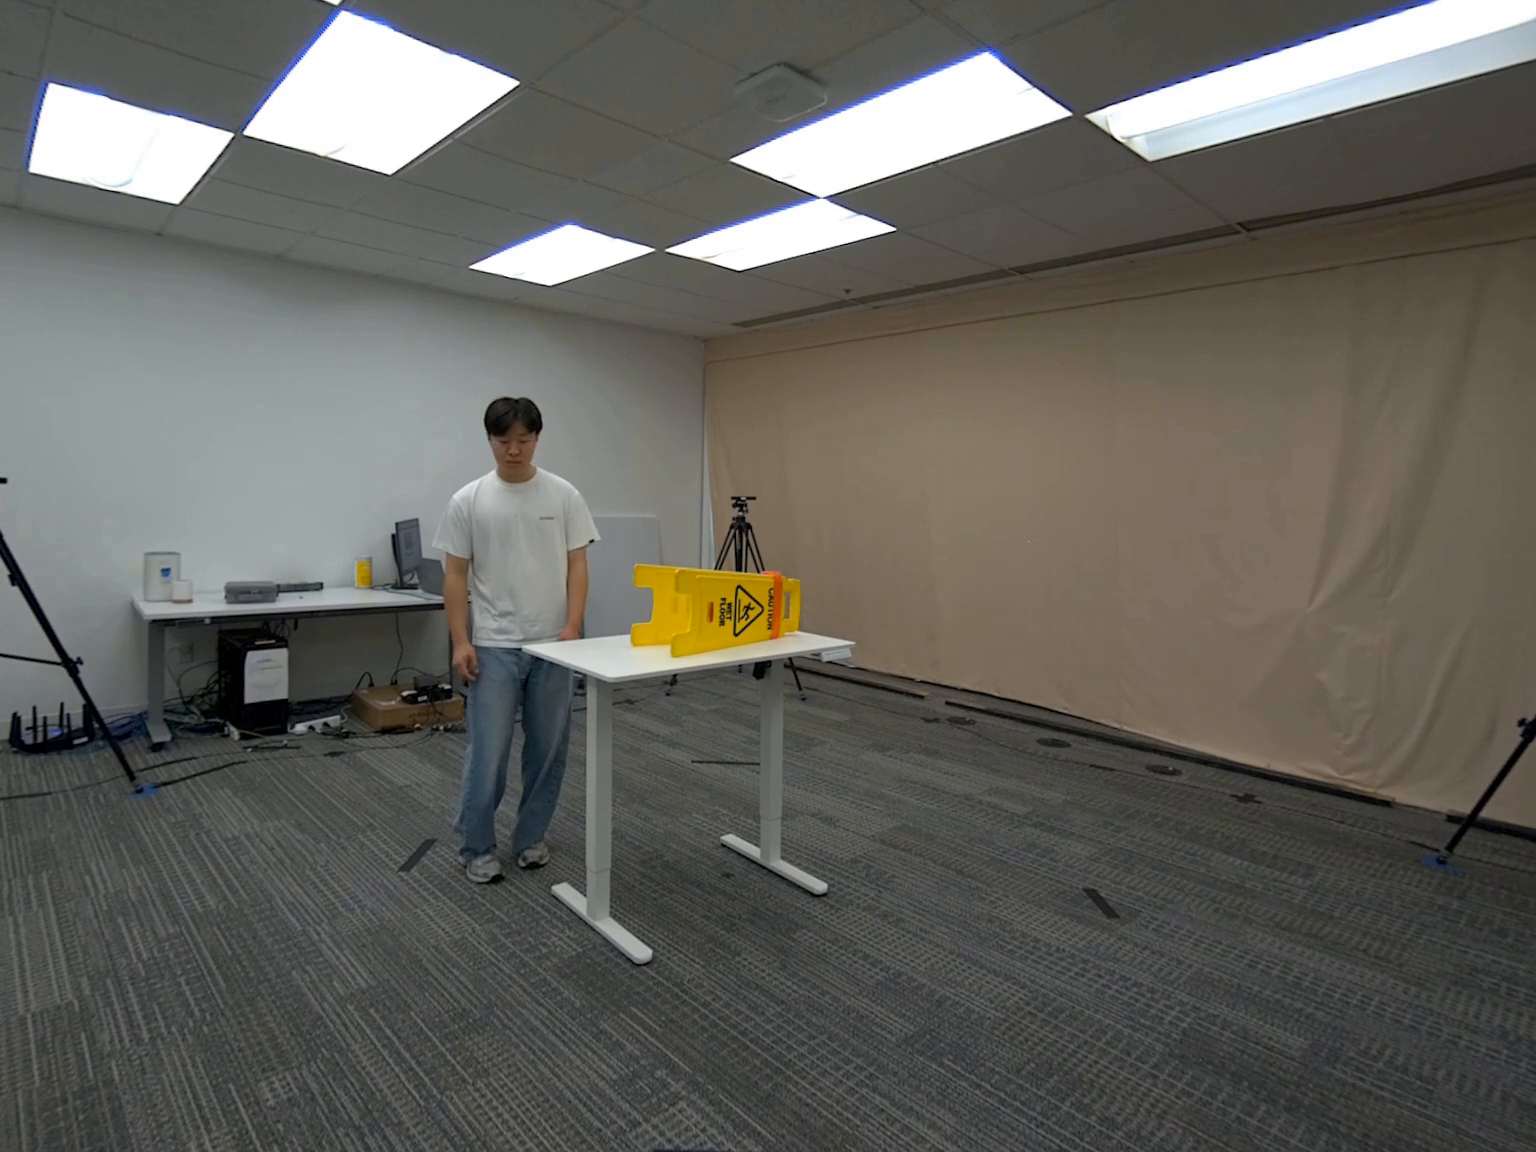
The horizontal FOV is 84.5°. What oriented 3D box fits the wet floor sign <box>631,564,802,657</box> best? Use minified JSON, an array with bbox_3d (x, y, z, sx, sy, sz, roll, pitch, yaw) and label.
[{"bbox_3d":[-0.152,0.110,2.960,0.631,0.282,0.297,0,3,-40],"label":"wet floor sign"}]
